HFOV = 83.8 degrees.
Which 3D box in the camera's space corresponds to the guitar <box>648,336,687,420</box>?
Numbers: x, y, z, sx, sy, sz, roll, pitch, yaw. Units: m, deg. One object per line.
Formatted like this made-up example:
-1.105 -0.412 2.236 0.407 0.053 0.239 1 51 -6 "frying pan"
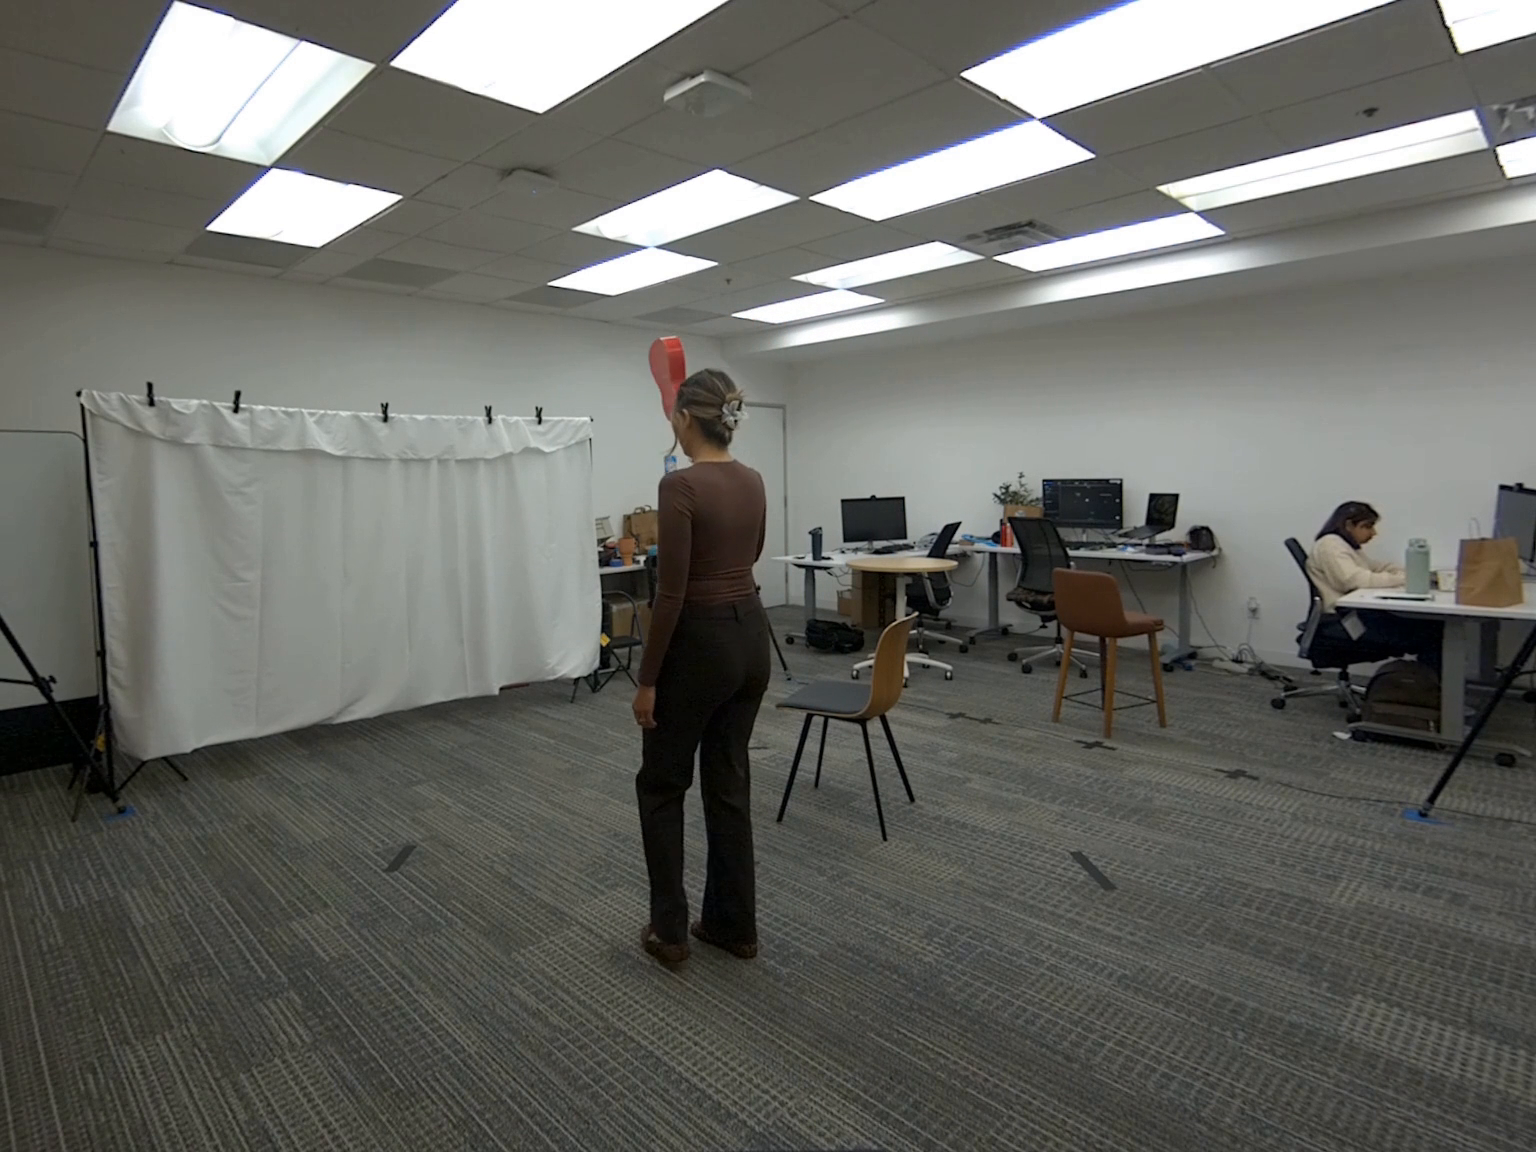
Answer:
-0.272 -0.536 2.792 0.070 0.503 0.193 -15 -9 -20 "guitar"
